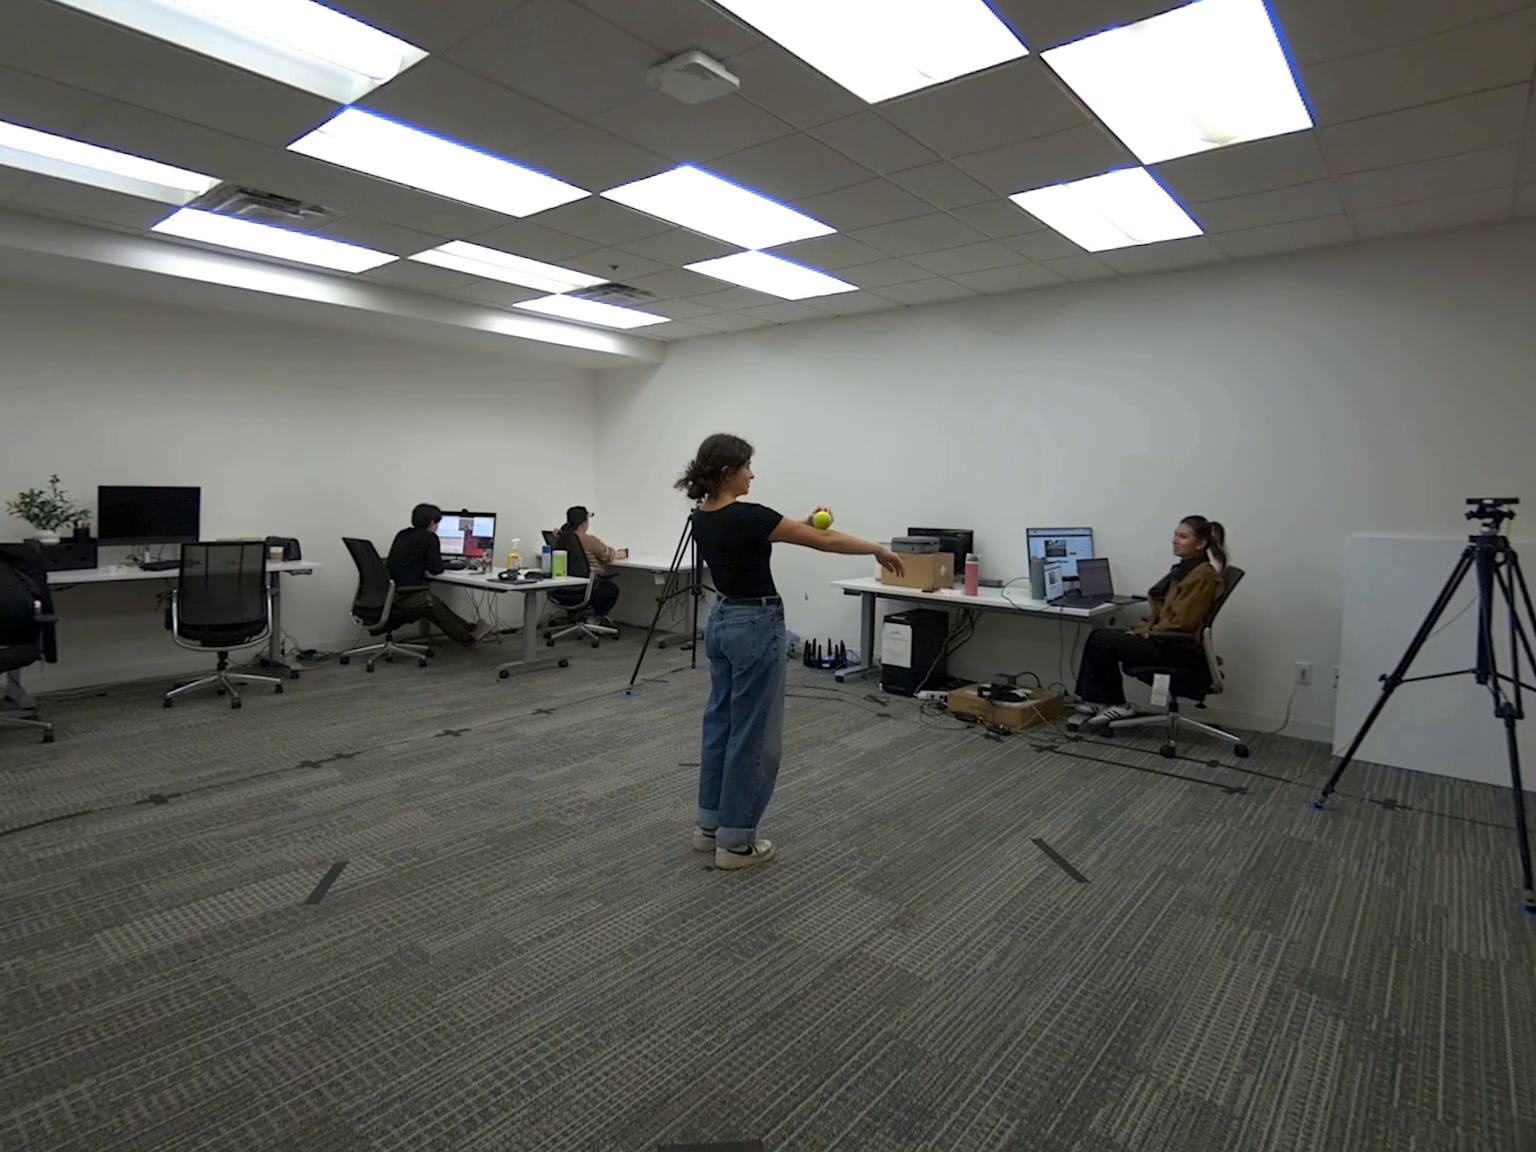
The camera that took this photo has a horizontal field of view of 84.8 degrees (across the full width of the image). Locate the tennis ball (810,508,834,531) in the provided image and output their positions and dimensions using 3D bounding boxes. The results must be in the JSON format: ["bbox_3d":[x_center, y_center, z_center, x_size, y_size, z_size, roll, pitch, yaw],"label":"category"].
[{"bbox_3d":[0.184,-0.215,3.135,0.066,0.066,0.067,1,4,-2],"label":"tennis ball"}]
